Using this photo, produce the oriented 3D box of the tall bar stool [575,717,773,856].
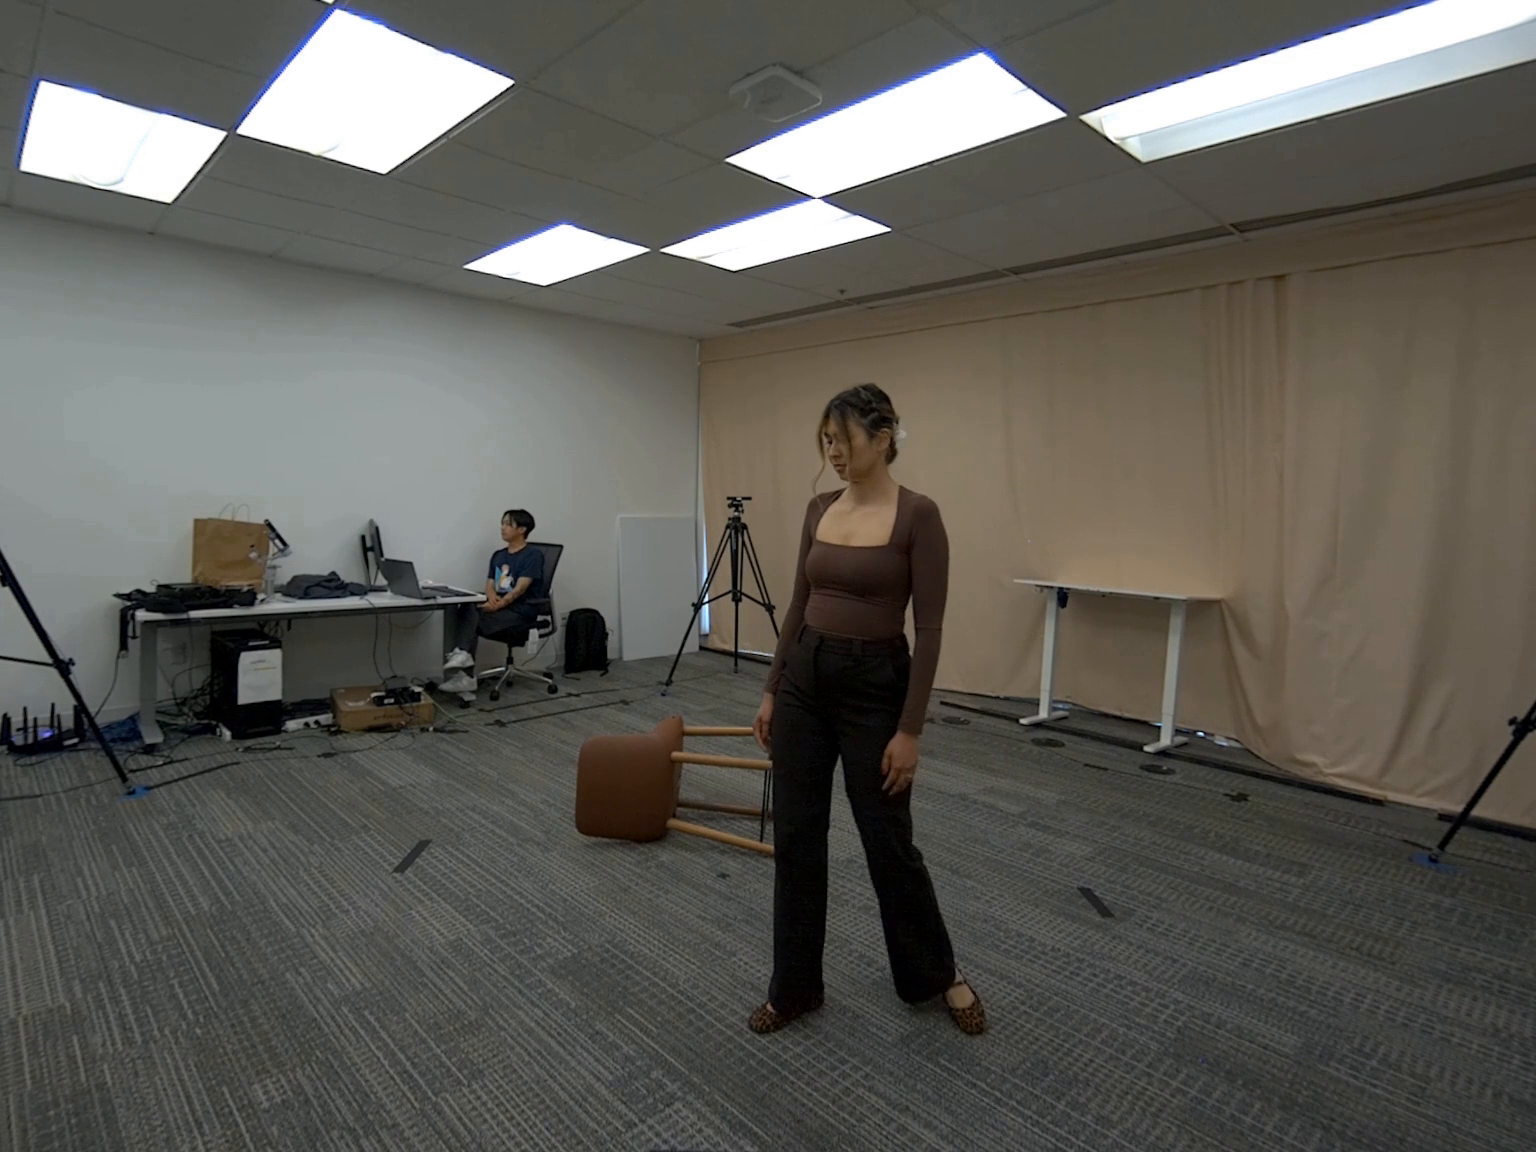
[{"bbox_3d":[-0.307,0.853,3.490,0.893,0.455,0.467,4,6,4],"label":"tall bar stool"}]
